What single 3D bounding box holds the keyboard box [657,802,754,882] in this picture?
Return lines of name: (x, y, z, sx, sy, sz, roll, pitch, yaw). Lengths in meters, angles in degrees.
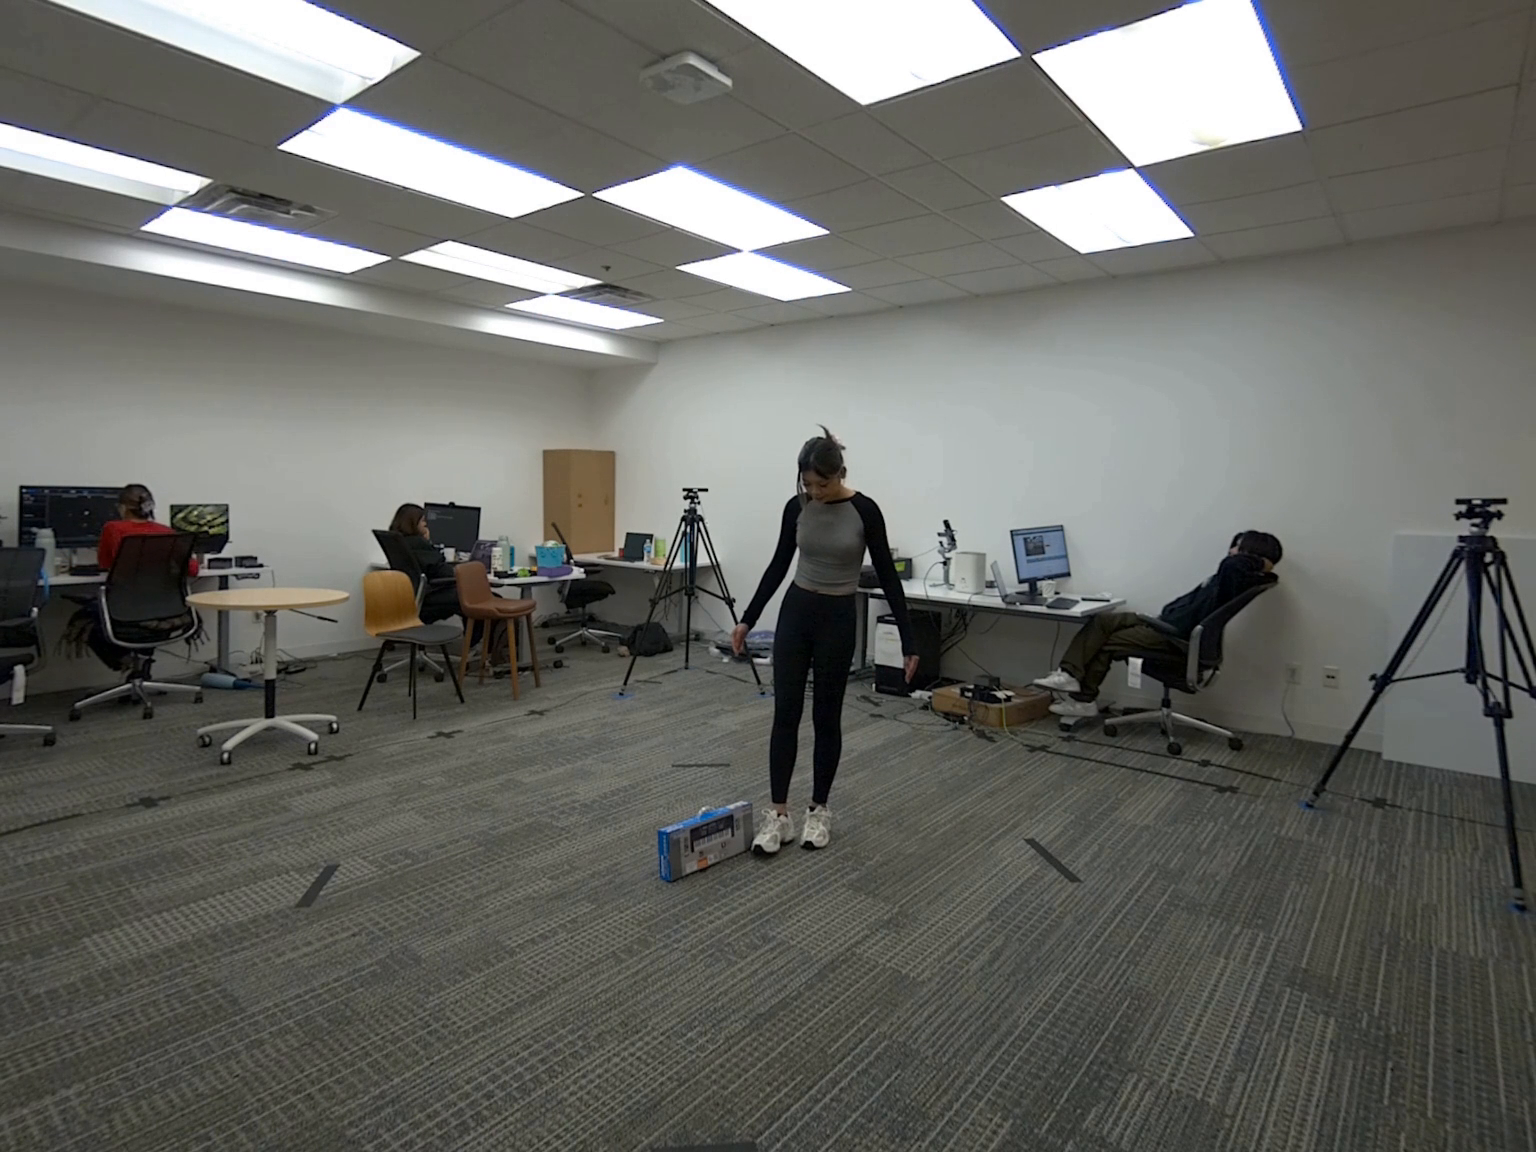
keyboard box: (-0.232, 0.978, 3.162, 0.061, 0.176, 0.424, -5, -1, 44)
